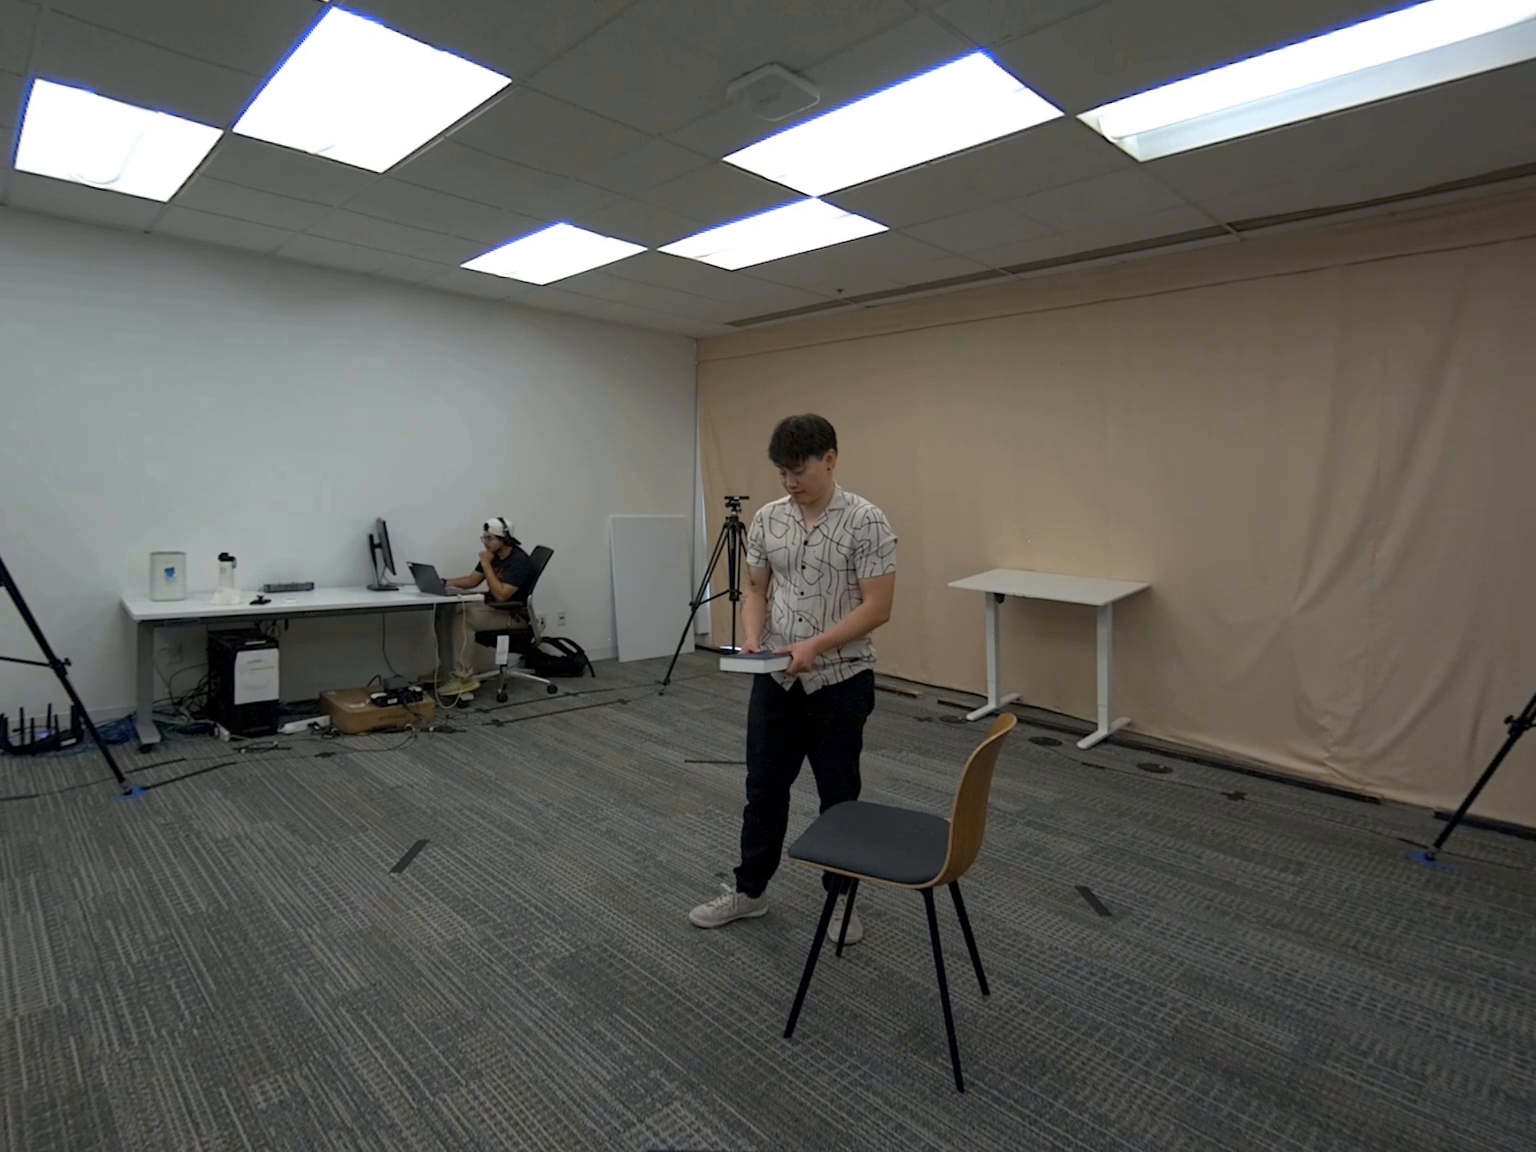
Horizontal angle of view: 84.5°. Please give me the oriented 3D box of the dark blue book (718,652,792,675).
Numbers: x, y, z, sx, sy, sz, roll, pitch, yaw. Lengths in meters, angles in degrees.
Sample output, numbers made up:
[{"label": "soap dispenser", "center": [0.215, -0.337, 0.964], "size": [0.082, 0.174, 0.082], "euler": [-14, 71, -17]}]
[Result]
[{"label": "dark blue book", "center": [-0.023, 0.256, 2.502], "size": [0.167, 0.045, 0.239], "euler": [-1, -1, 34]}]
